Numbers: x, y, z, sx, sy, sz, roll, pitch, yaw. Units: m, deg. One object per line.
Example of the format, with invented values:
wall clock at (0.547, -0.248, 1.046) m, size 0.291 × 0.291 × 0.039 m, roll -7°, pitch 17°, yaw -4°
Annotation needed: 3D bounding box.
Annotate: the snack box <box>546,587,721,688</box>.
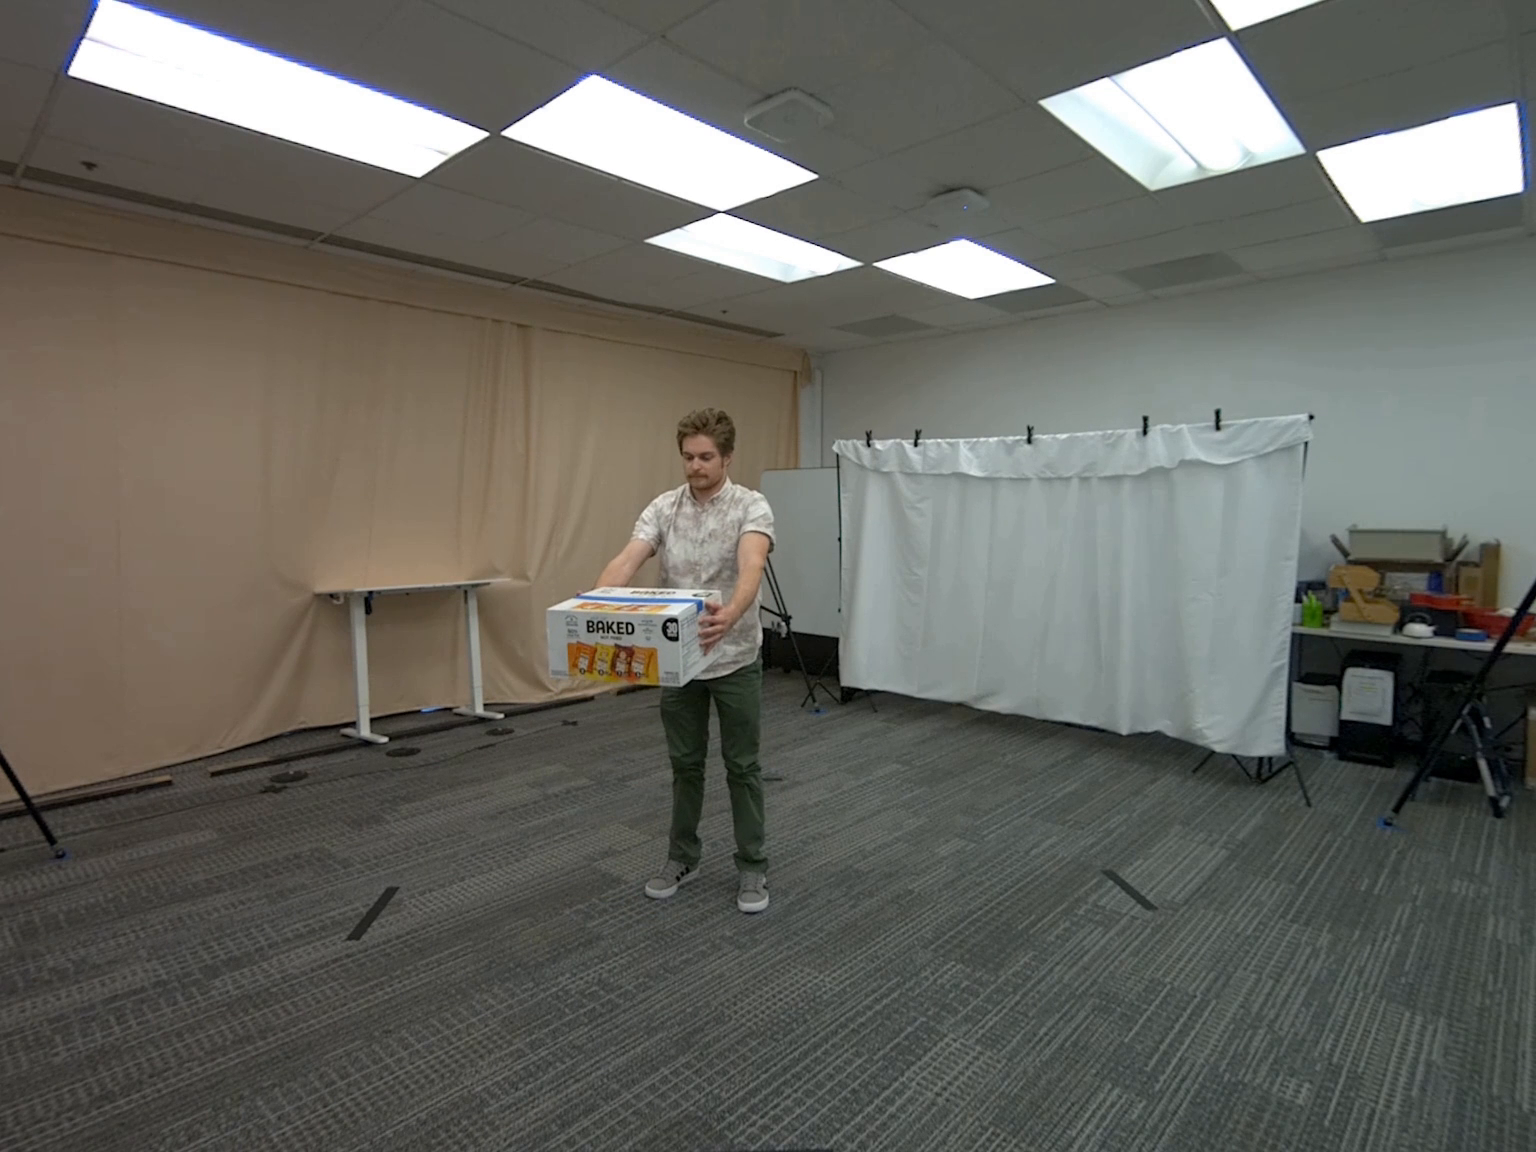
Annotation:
snack box at (-0.381, 0.167, 2.463) m, size 0.413 × 0.204 × 0.335 m, roll 1°, pitch 10°, yaw 18°
